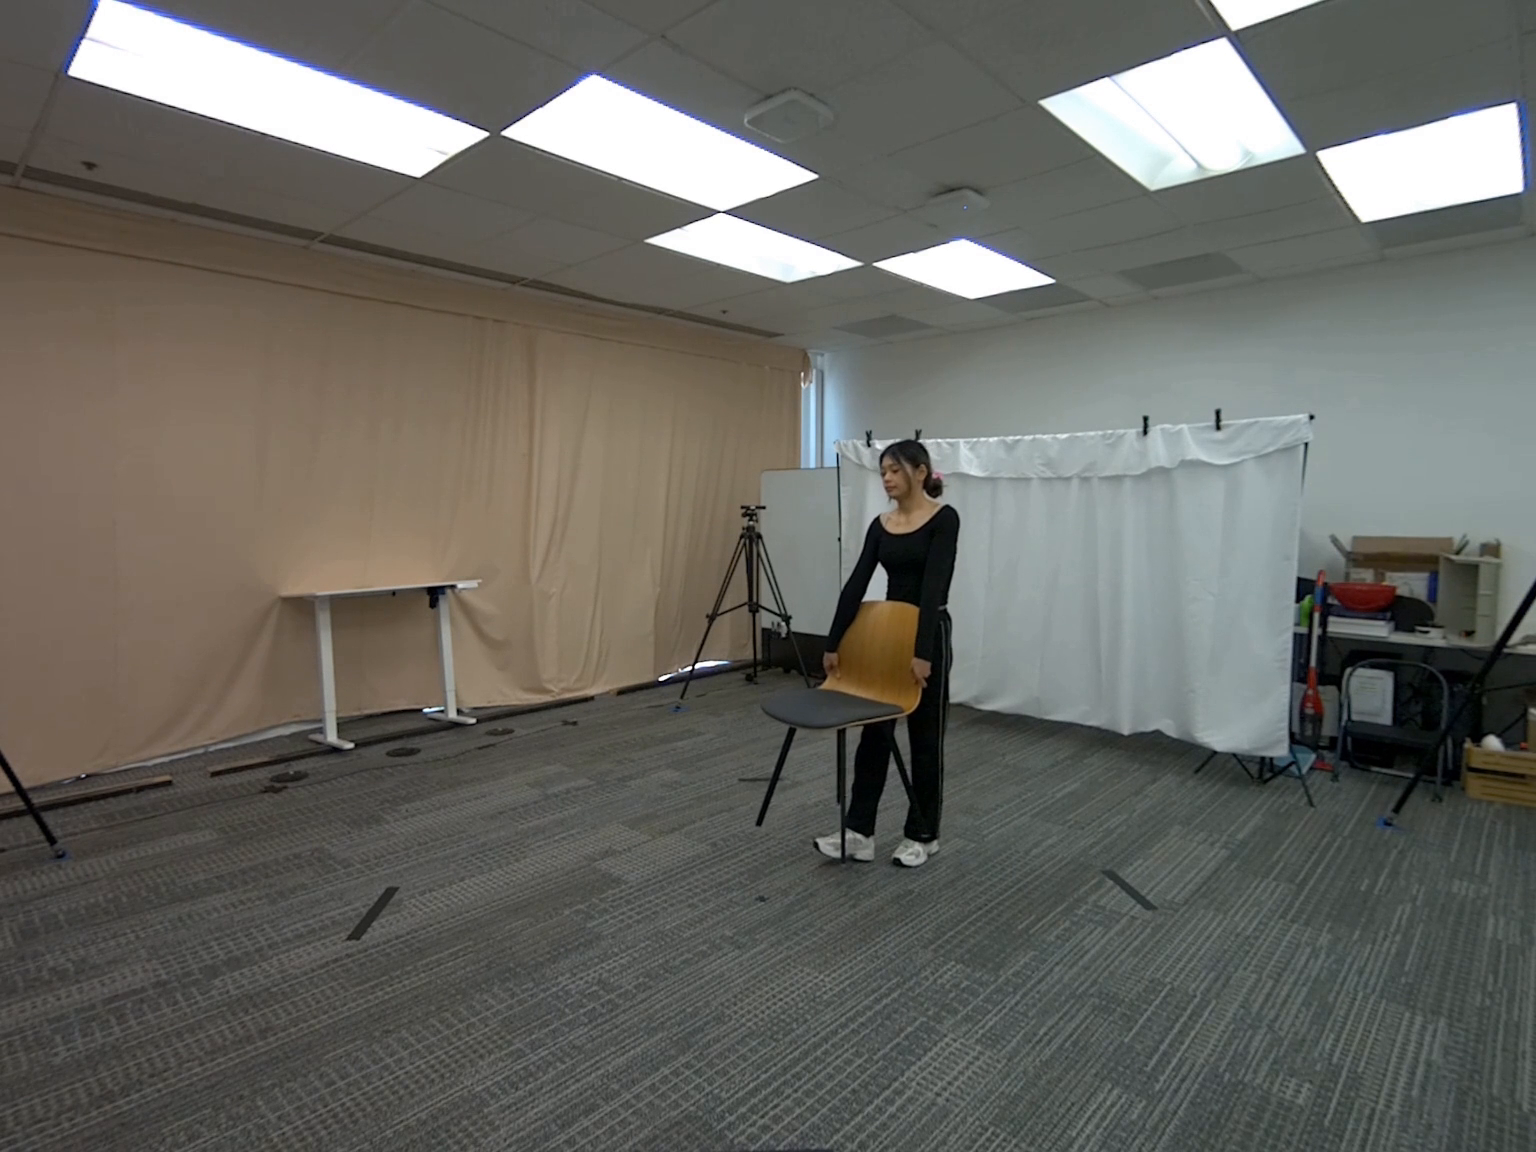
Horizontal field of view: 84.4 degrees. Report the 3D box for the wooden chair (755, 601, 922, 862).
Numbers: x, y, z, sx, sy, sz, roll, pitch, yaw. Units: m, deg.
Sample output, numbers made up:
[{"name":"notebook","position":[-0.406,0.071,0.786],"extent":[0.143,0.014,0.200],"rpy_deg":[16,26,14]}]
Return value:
[{"name":"wooden chair","position":[0.271,0.531,3.117],"extent":[0.506,0.877,0.494],"rpy_deg":[5,0,-40]}]
